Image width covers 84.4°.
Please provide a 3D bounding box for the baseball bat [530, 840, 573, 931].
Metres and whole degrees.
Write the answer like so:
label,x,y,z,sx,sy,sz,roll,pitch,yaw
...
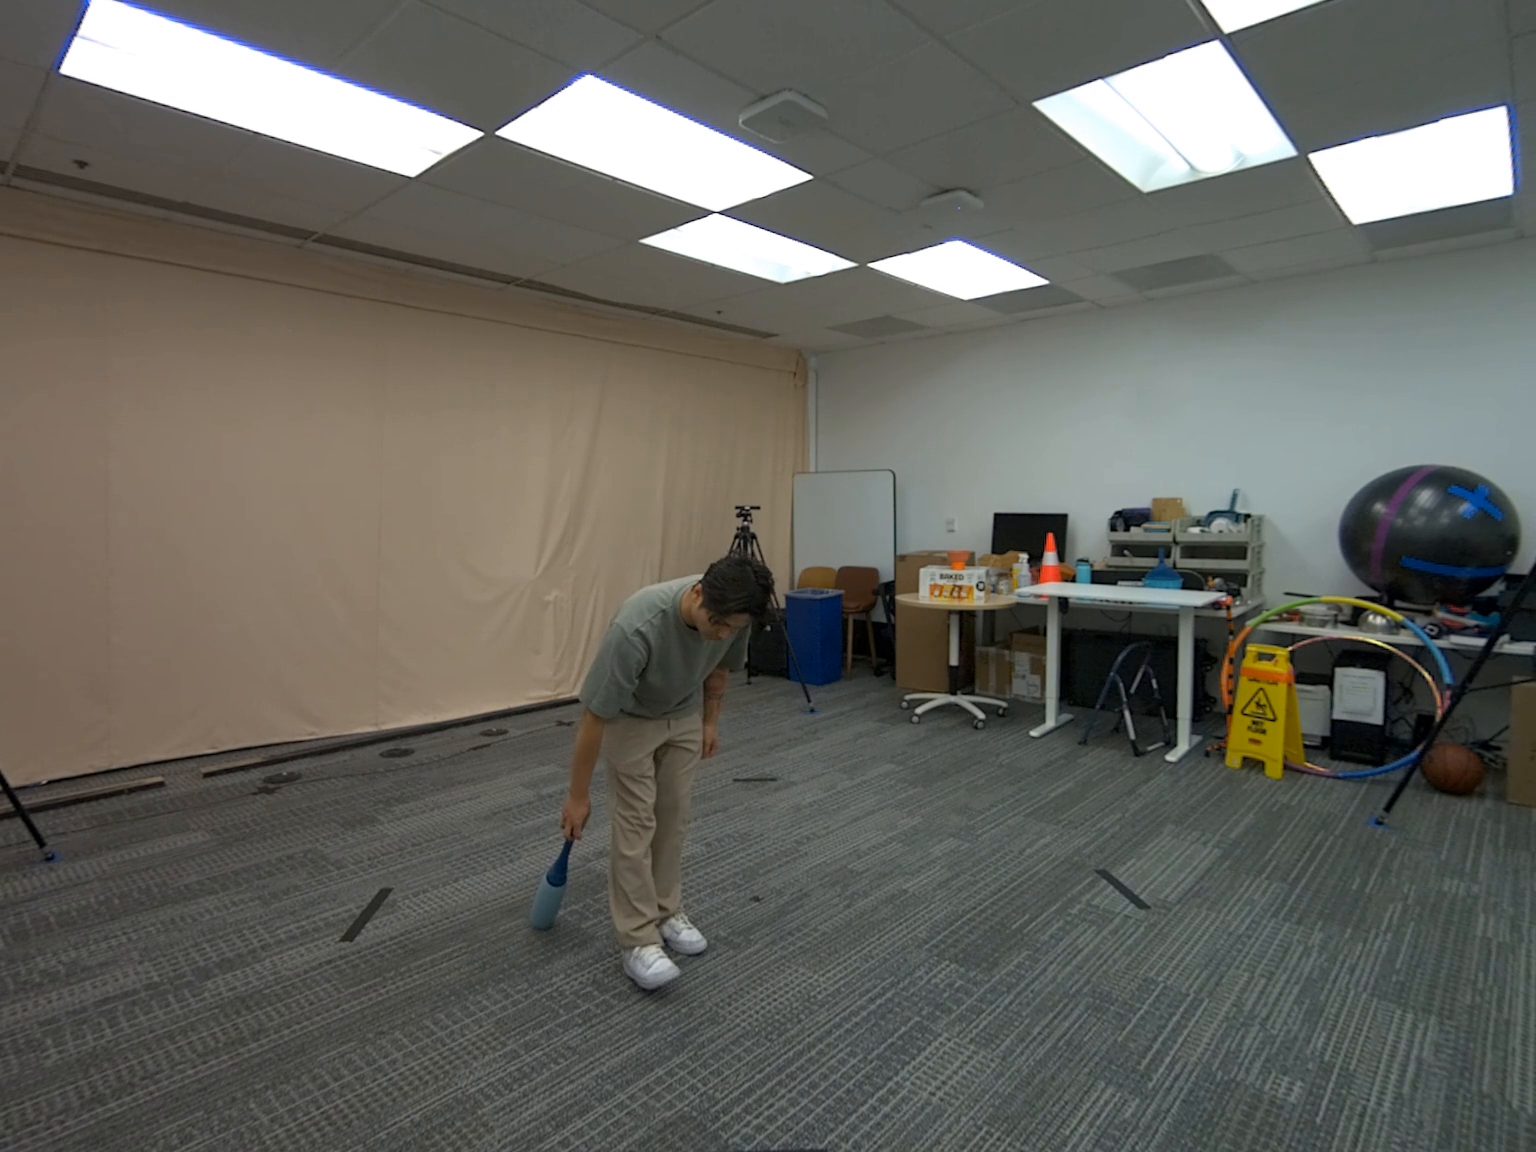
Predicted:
label,x,y,z,sx,sy,sz,roll,pitch,yaw
baseball bat,-0.663,0.952,2.661,0.088,0.541,0.091,16,35,-14
